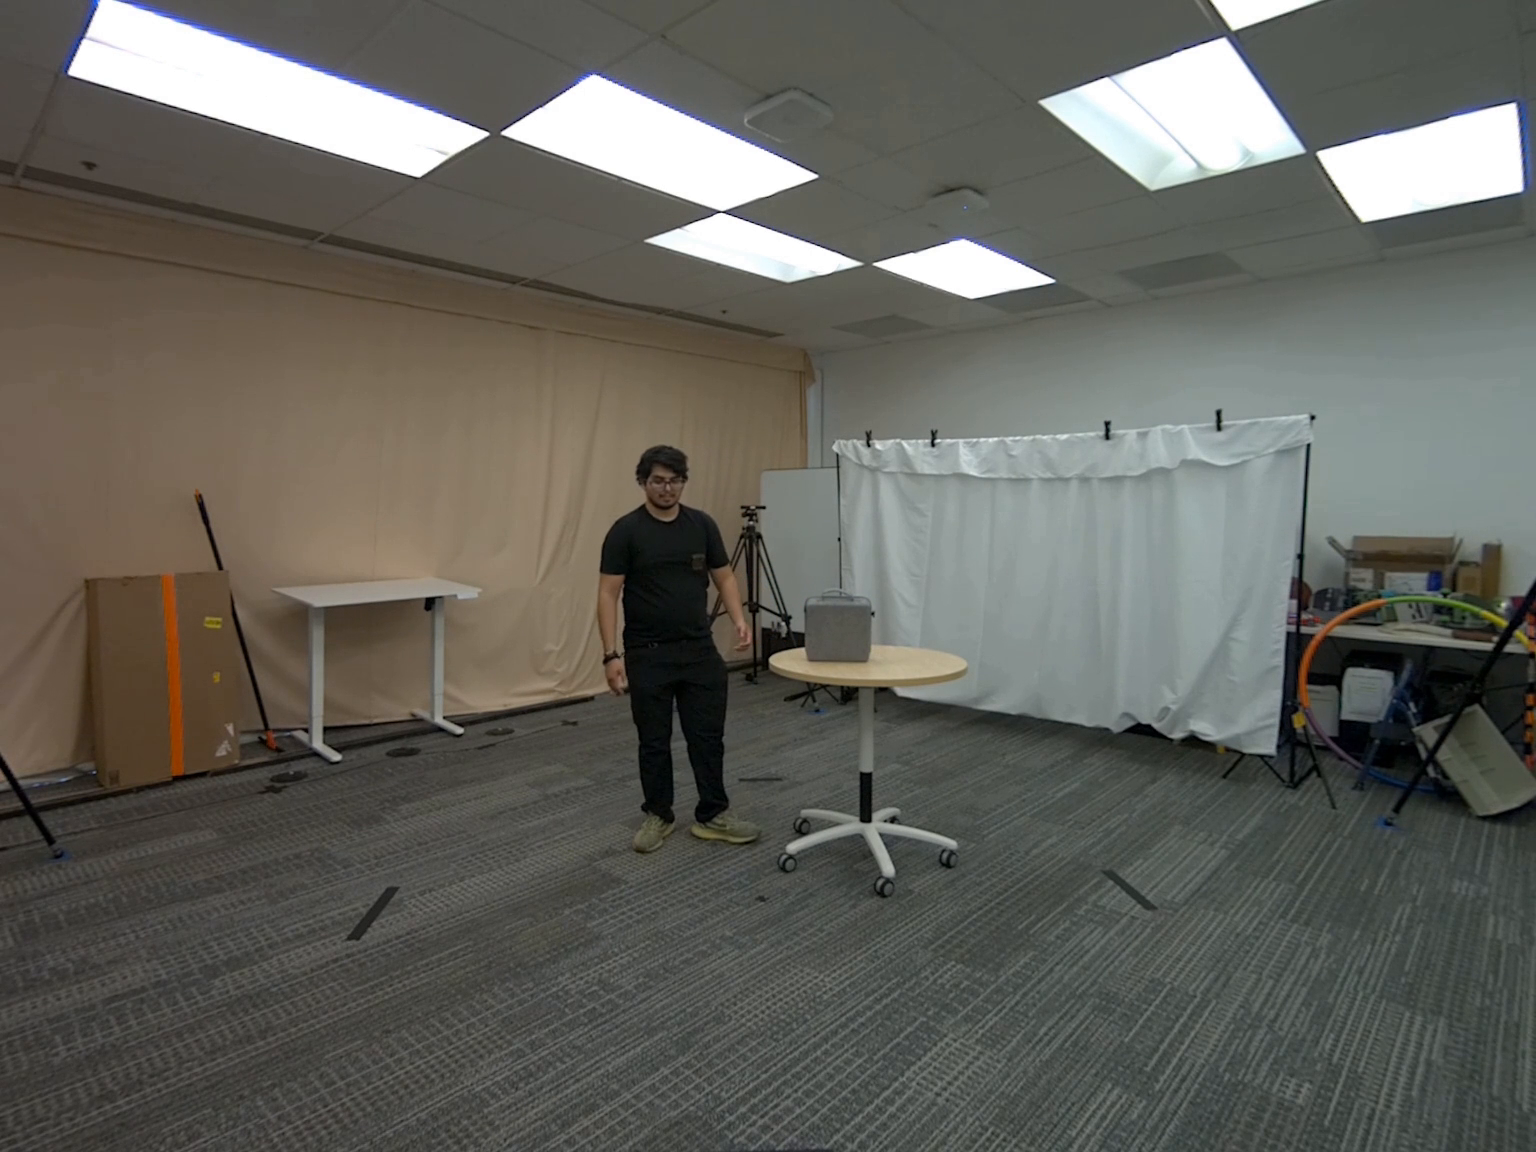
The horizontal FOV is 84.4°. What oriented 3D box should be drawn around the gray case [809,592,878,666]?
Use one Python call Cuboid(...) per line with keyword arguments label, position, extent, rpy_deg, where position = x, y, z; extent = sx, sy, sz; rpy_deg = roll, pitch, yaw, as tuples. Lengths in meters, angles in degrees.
Cuboid(label="gray case", position=(0.287, 0.200, 3.274), extent=(0.259, 0.258, 0.104), rpy_deg=(0, 13, 6))
